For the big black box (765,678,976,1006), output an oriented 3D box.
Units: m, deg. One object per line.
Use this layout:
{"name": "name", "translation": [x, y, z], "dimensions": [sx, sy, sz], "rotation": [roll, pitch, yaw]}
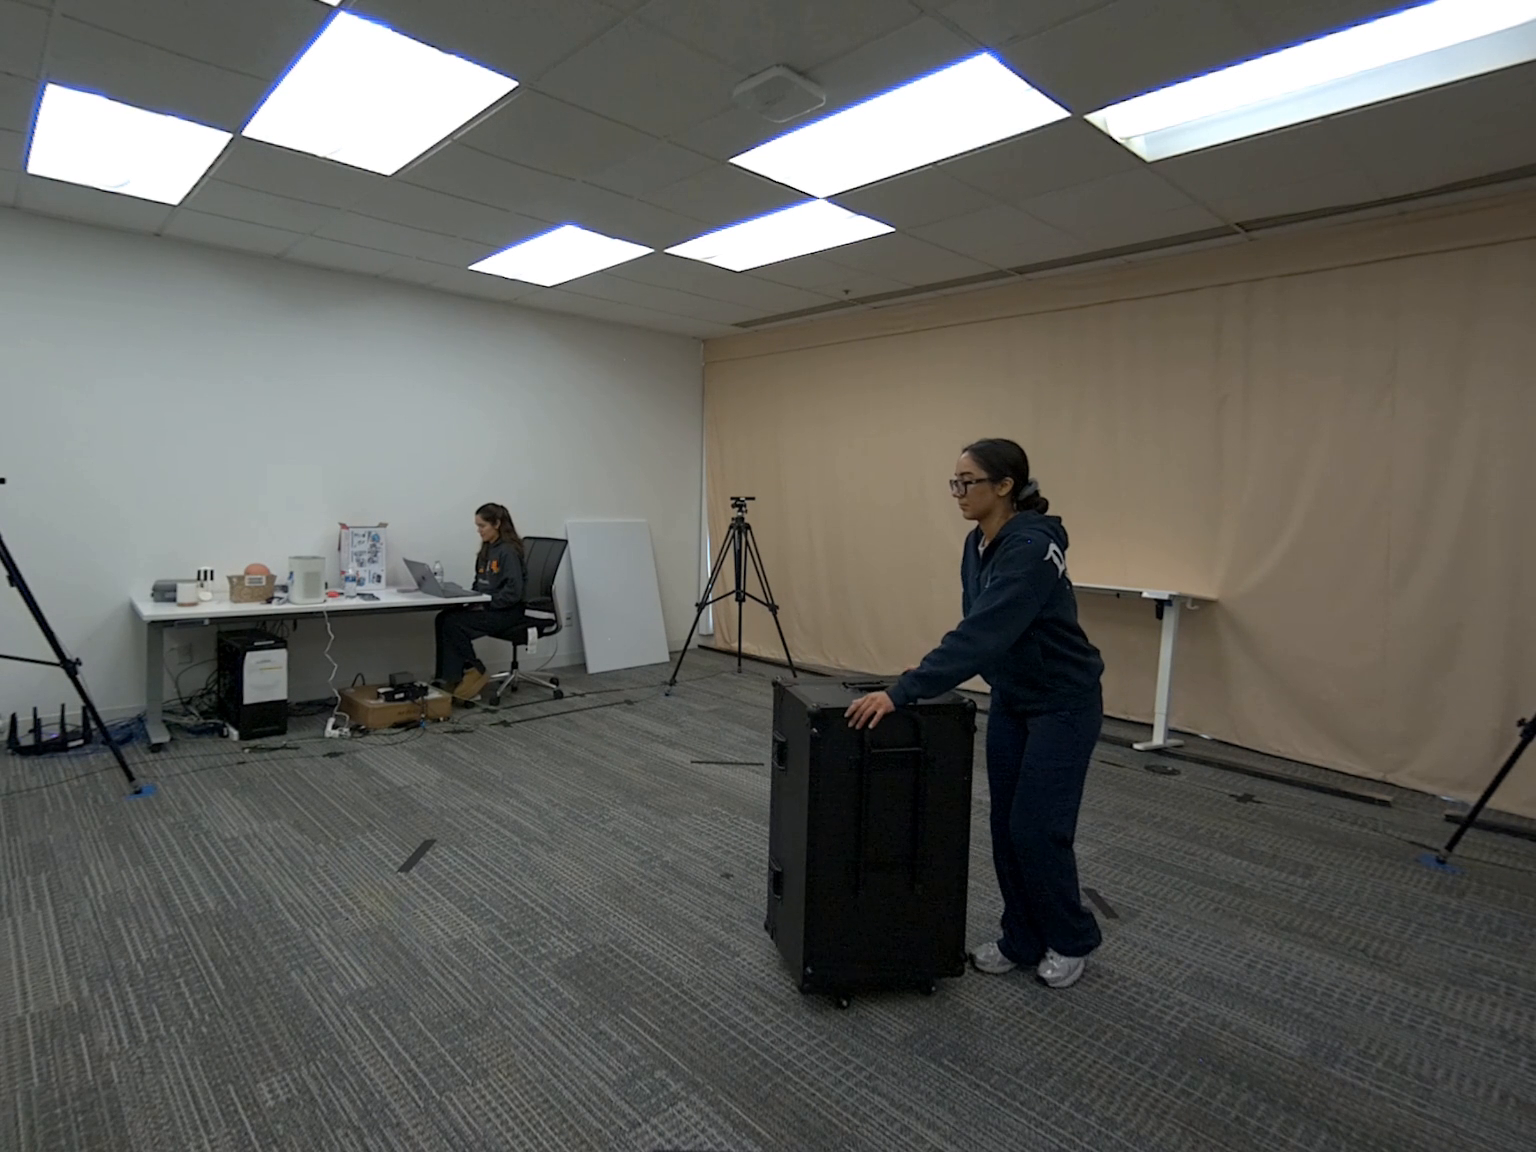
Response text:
{"name": "big black box", "translation": [0.290, 0.753, 2.450], "dimensions": [0.515, 0.858, 0.402], "rotation": [1, 5, -15]}
